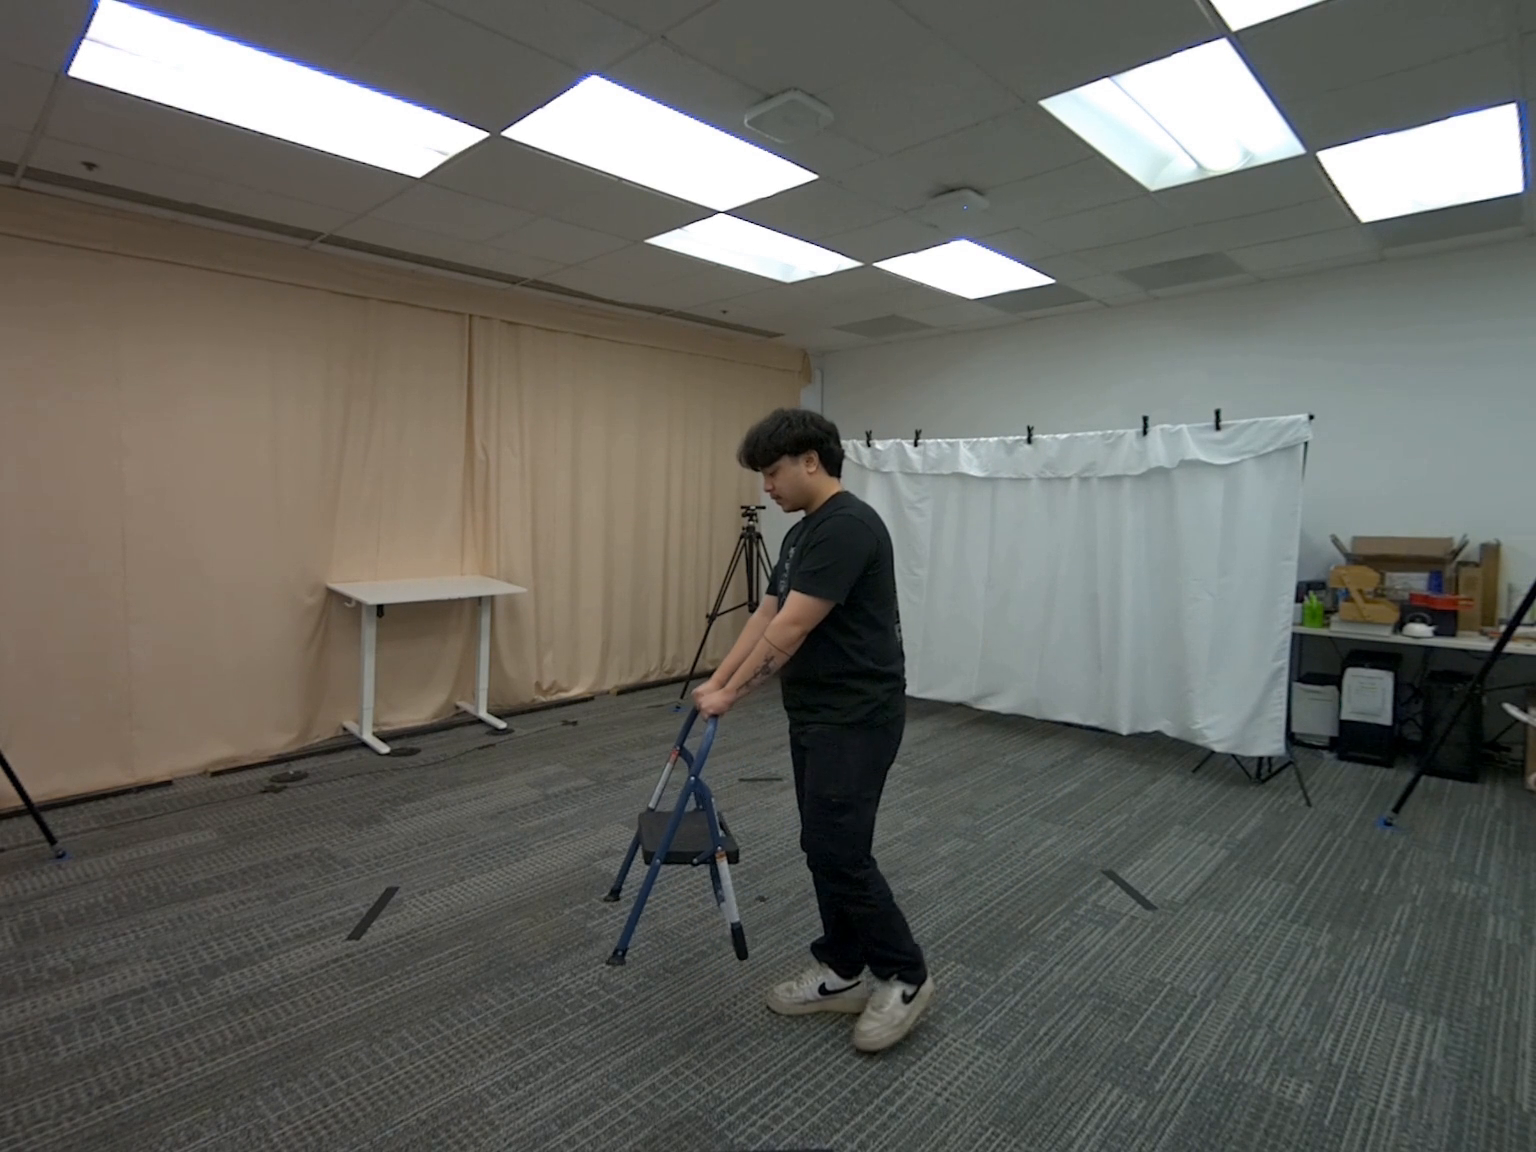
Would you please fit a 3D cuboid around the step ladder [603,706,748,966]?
[{"bbox_3d":[-0.241,0.649,2.251,0.345,0.607,0.435,3,-2,-11],"label":"step ladder"}]
